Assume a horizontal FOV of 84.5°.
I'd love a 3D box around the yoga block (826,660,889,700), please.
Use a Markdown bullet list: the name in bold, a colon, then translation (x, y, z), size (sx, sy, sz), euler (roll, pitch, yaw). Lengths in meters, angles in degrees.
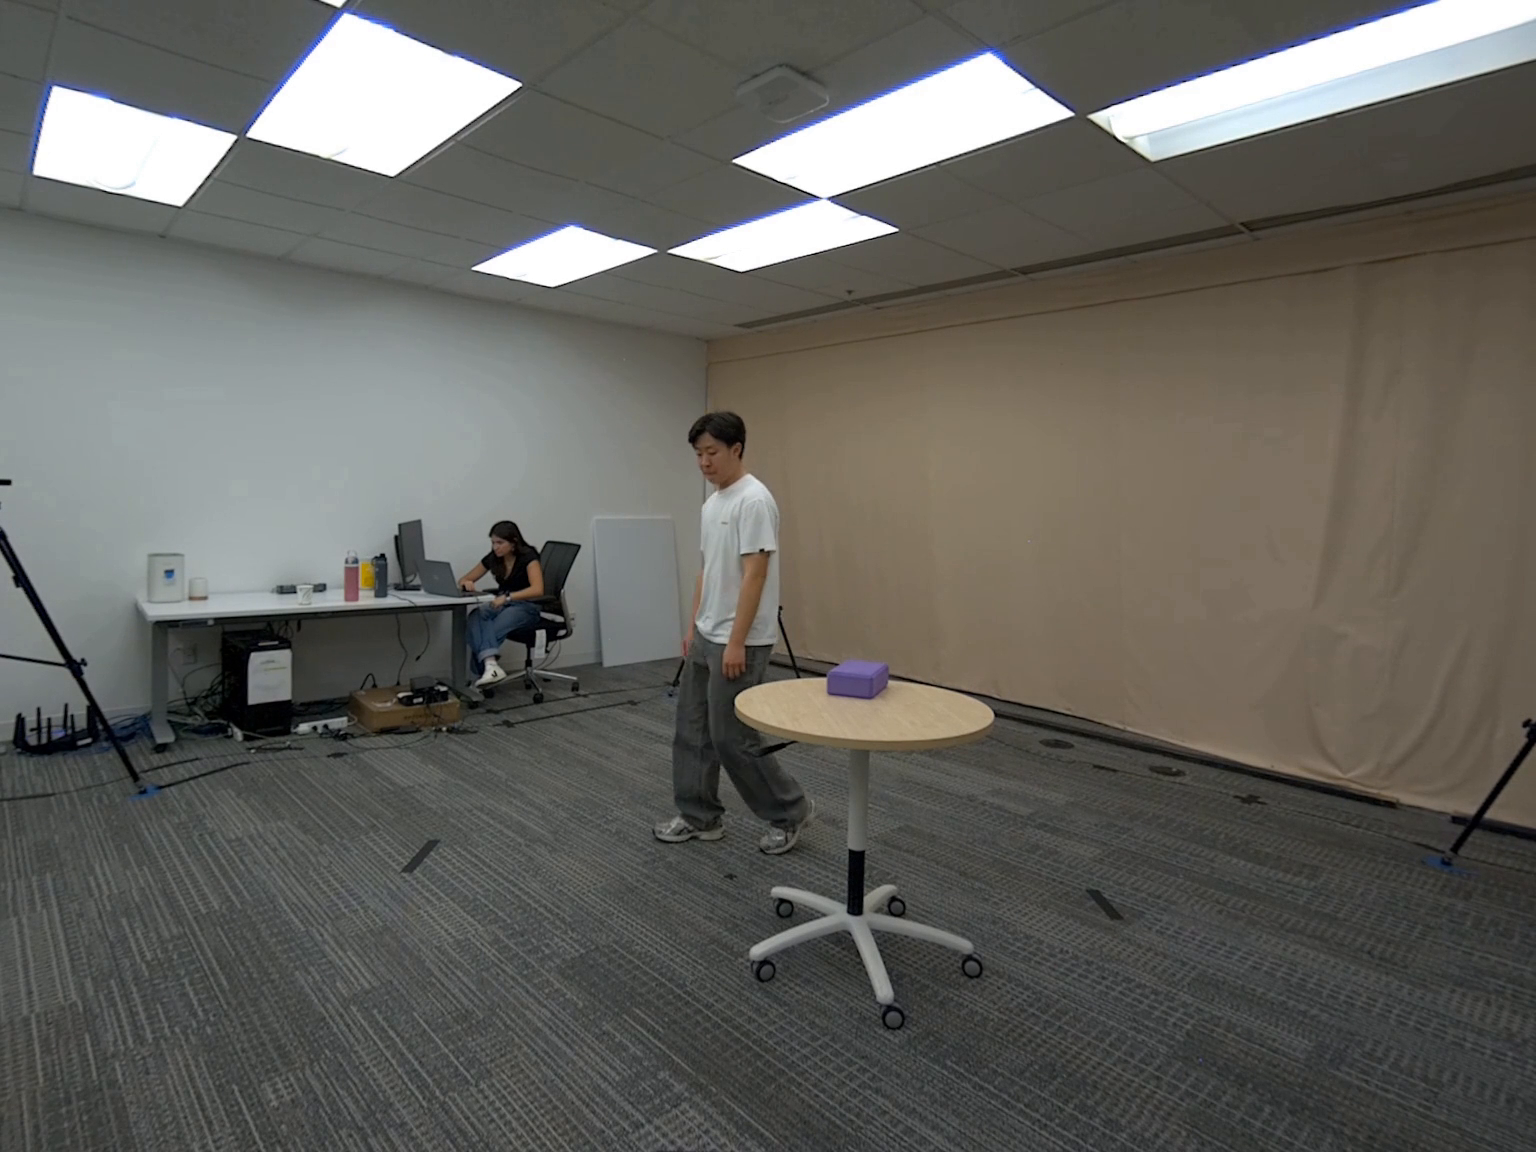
- **yoga block**: translation (0.289, 0.335, 2.716), size (0.151, 0.076, 0.226), euler (3, 6, 21)
